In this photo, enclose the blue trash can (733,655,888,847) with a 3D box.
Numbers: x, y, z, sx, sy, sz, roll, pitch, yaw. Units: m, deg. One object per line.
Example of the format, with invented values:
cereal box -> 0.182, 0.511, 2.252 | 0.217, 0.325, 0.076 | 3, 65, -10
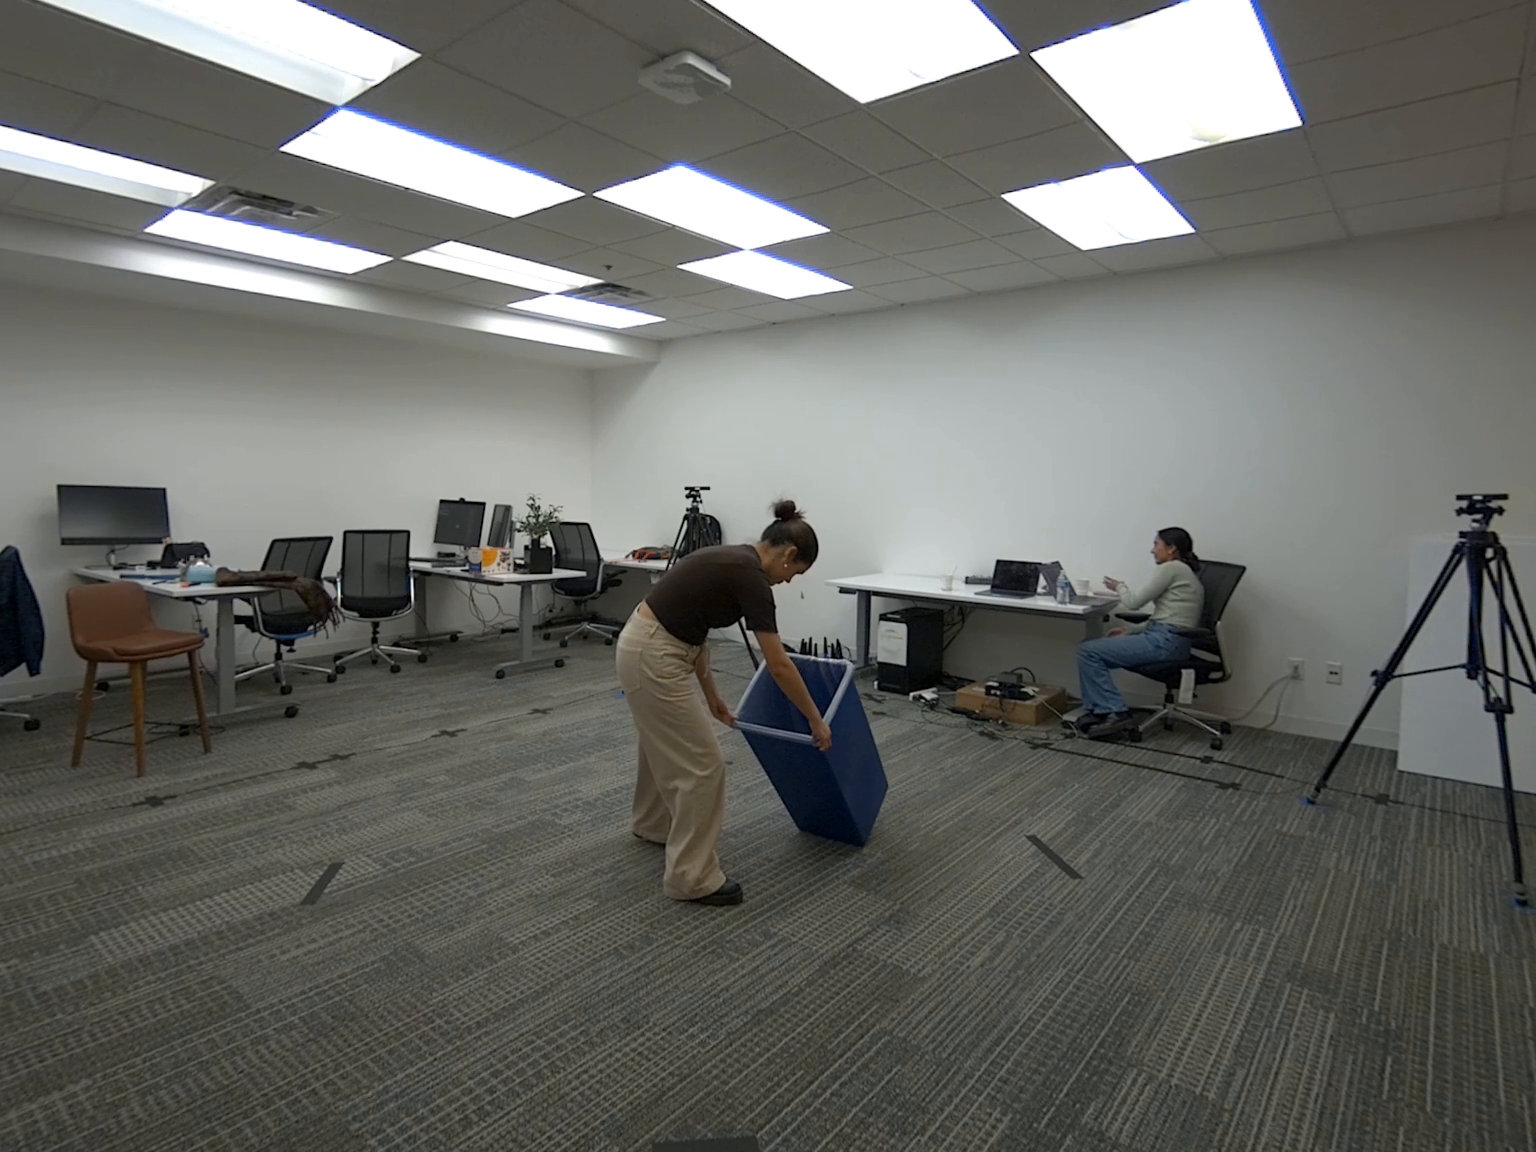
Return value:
blue trash can -> 0.195, 0.686, 3.275 | 0.390, 0.688, 0.376 | 3, 41, 34
